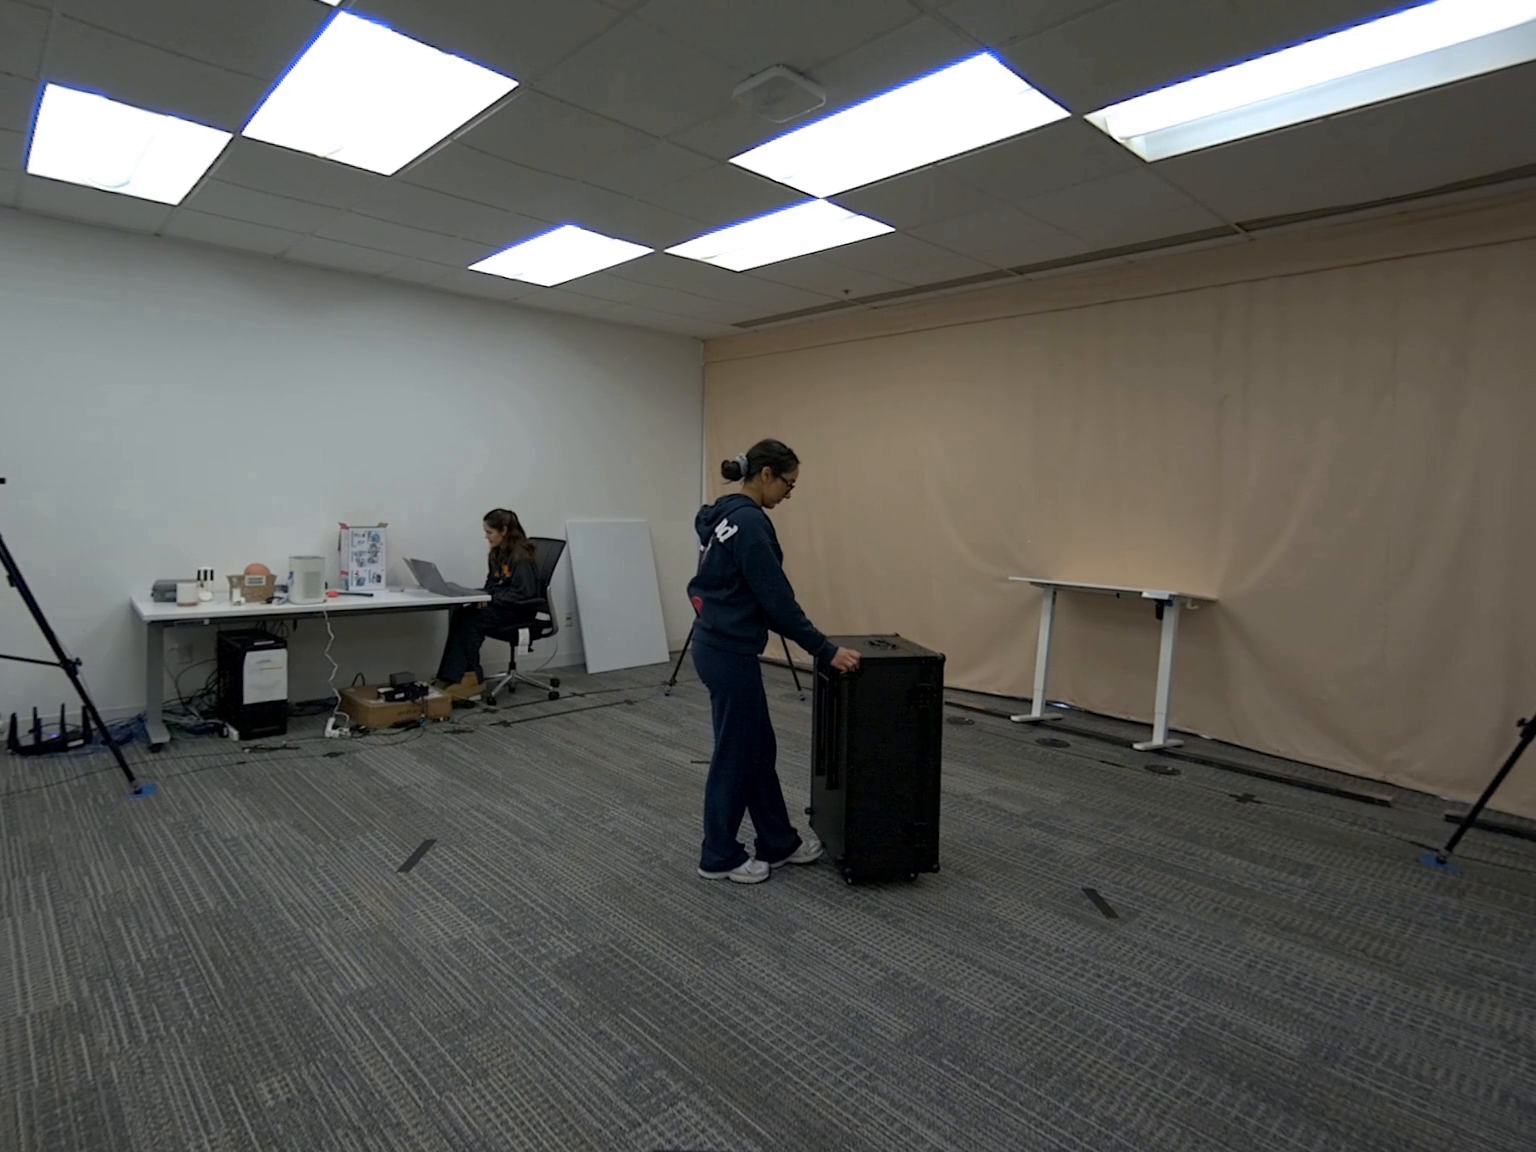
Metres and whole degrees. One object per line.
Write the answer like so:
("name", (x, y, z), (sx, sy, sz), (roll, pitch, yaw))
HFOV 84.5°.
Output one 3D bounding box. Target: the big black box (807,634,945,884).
("big black box", (0.382, 0.681, 3.197), (0.393, 0.858, 0.528), (-1, 5, -12))
